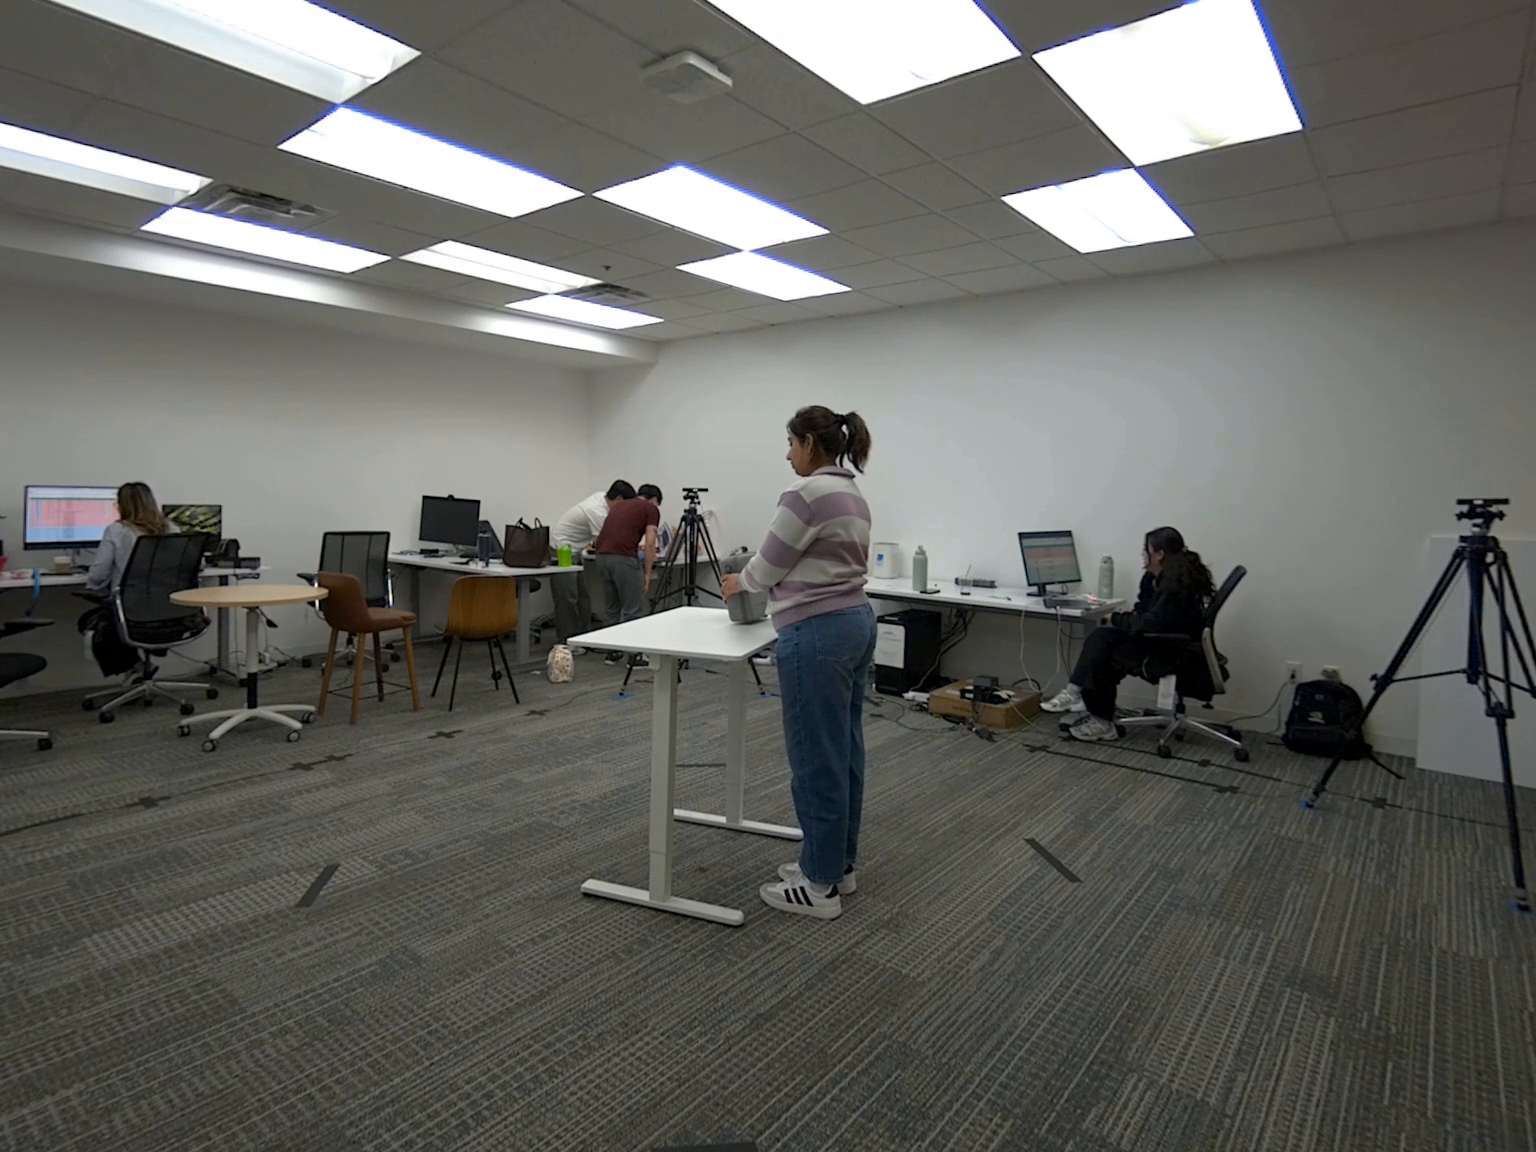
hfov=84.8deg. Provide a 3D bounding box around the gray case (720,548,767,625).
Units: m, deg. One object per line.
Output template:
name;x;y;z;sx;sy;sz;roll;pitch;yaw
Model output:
gray case;-0.093;0.038;3.297;0.106;0.262;0.251;-11;-3;23
